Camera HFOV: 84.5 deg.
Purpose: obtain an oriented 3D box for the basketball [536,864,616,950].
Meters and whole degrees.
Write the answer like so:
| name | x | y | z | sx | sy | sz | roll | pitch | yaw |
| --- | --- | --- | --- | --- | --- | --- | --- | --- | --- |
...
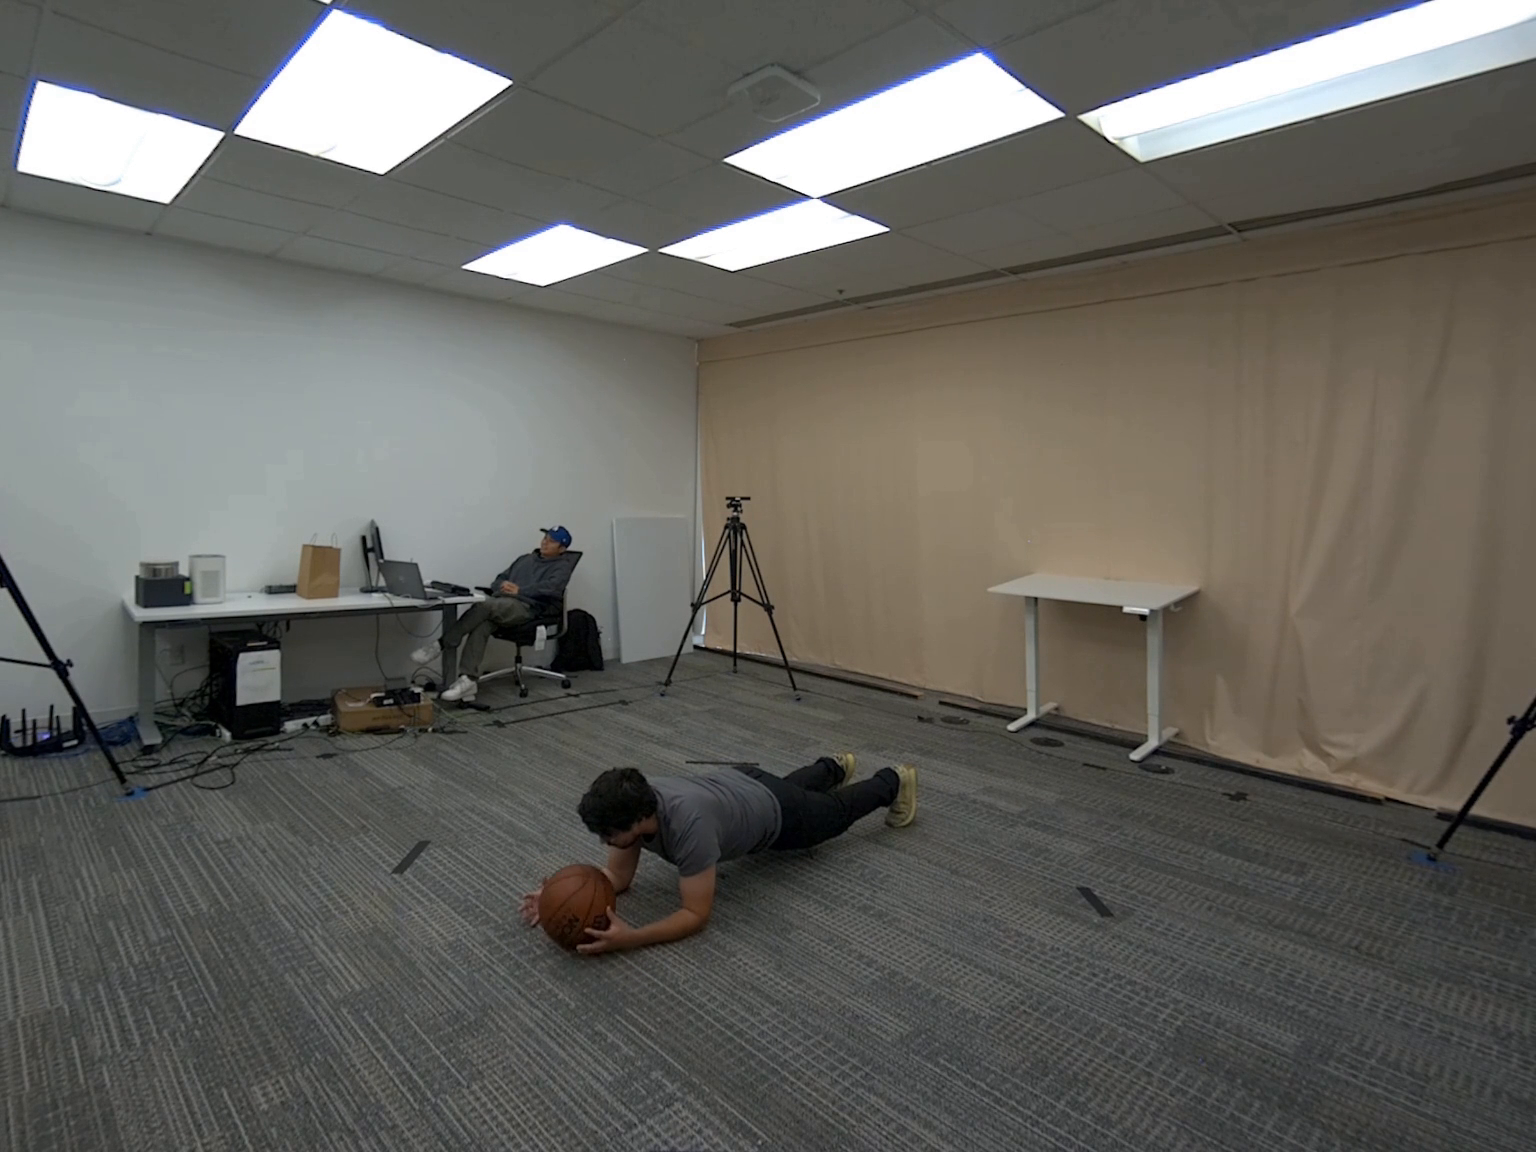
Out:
| name | x | y | z | sx | sy | sz | roll | pitch | yaw |
| --- | --- | --- | --- | --- | --- | --- | --- | --- | --- |
| basketball | -0.589 | 1.022 | 2.611 | 0.236 | 0.235 | 0.237 | 1 | 4 | -1 |
